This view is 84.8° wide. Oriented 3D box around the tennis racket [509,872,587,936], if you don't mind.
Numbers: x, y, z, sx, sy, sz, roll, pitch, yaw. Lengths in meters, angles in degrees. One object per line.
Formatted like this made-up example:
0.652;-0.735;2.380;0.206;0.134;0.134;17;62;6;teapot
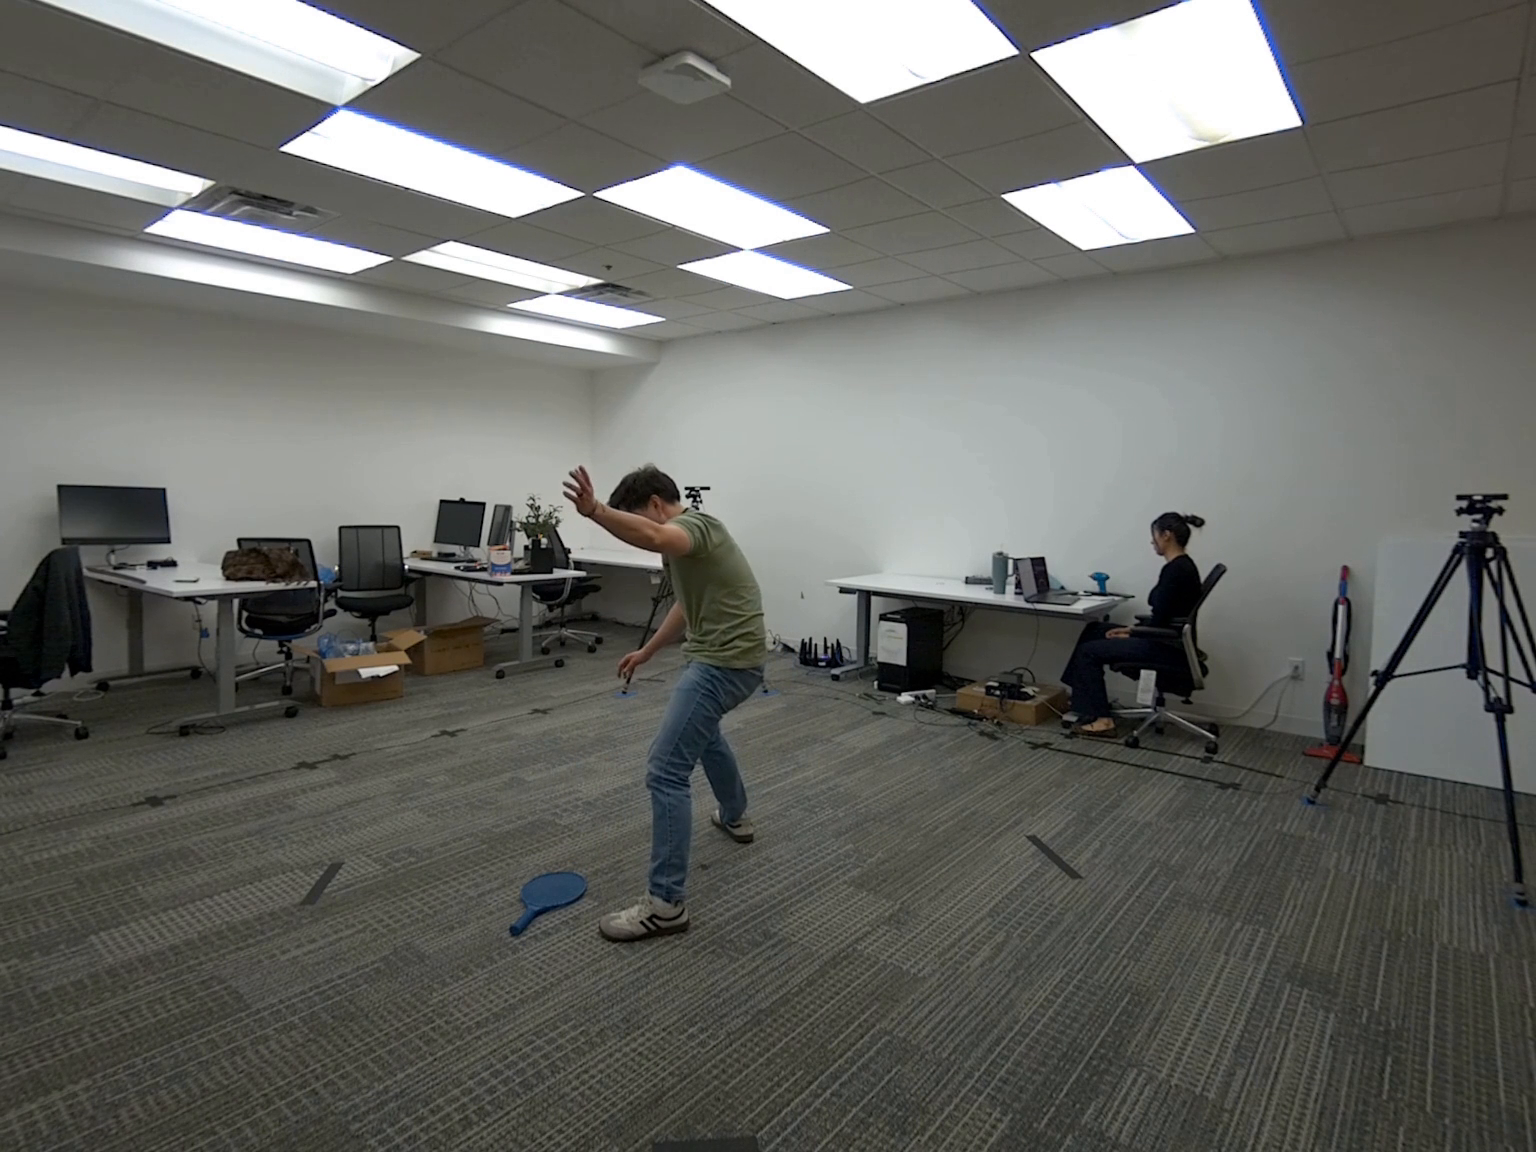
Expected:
-0.756;1.073;2.830;0.217;0.031;0.428;1;5;11;tennis racket
